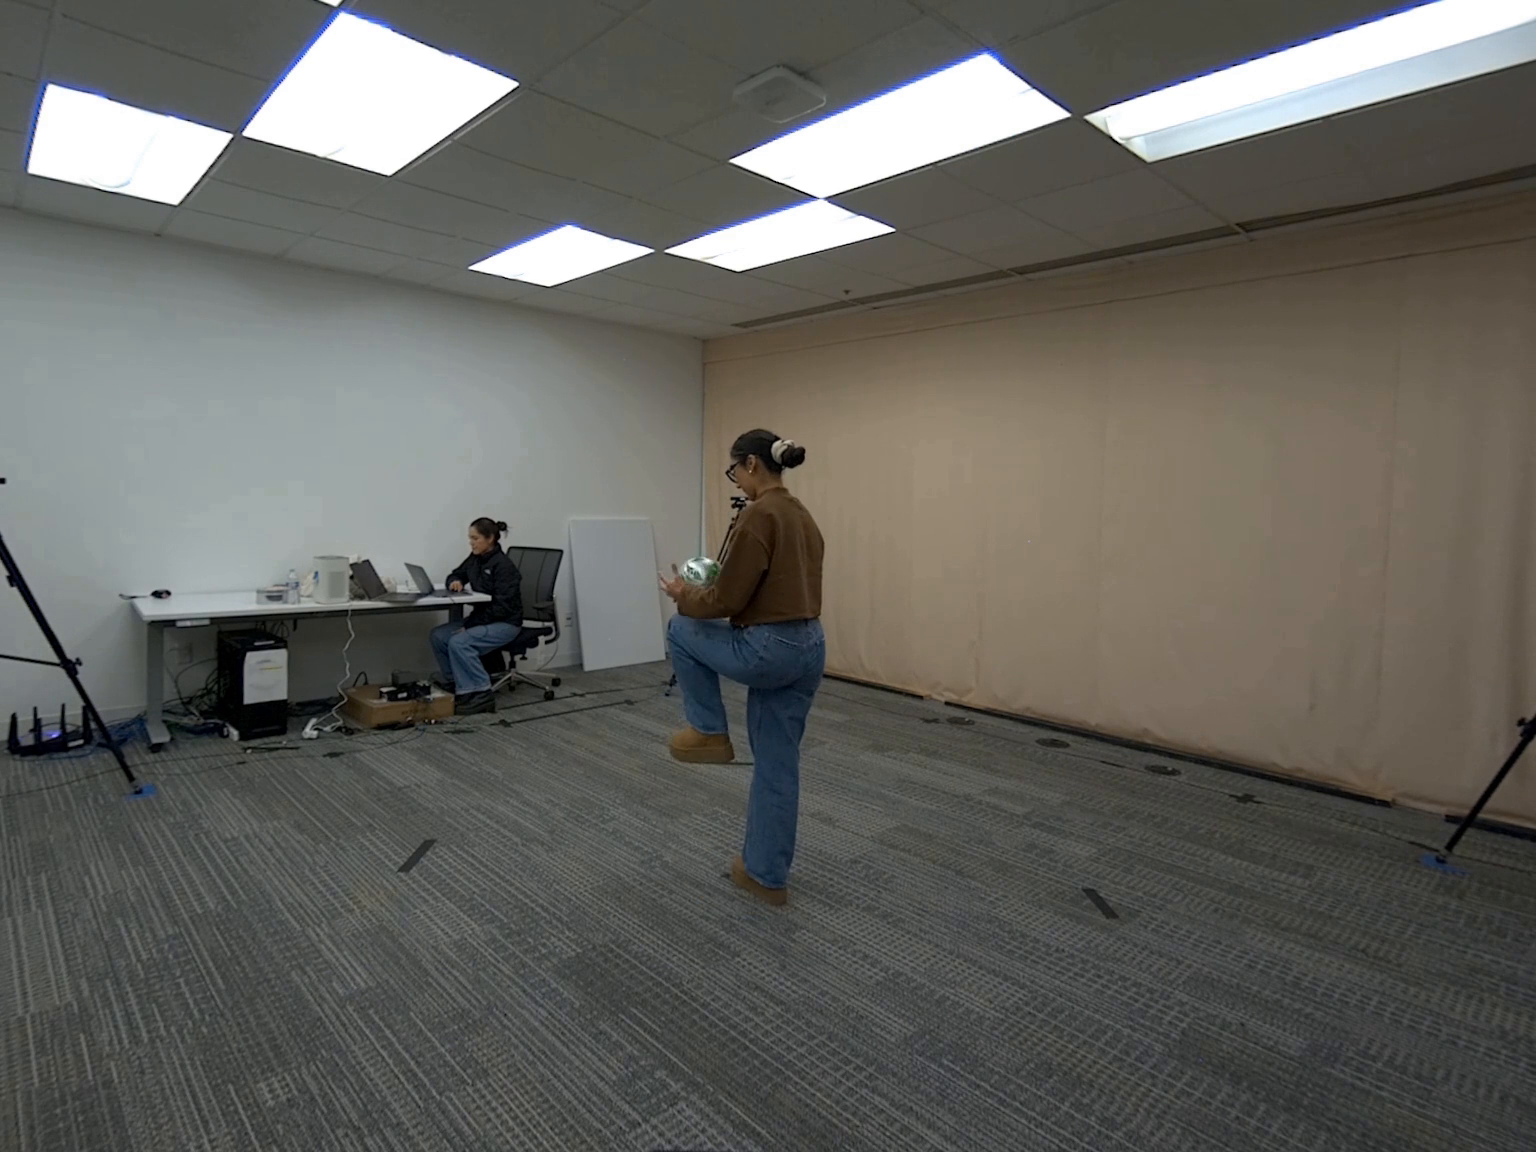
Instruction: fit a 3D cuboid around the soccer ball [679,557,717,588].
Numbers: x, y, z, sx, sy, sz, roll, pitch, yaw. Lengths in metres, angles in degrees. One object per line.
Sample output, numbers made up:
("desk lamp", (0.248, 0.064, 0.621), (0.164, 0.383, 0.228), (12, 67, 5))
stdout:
("soccer ball", (-0.243, 0.029, 3.026), (0.187, 0.187, 0.188), (1, 4, -1))
